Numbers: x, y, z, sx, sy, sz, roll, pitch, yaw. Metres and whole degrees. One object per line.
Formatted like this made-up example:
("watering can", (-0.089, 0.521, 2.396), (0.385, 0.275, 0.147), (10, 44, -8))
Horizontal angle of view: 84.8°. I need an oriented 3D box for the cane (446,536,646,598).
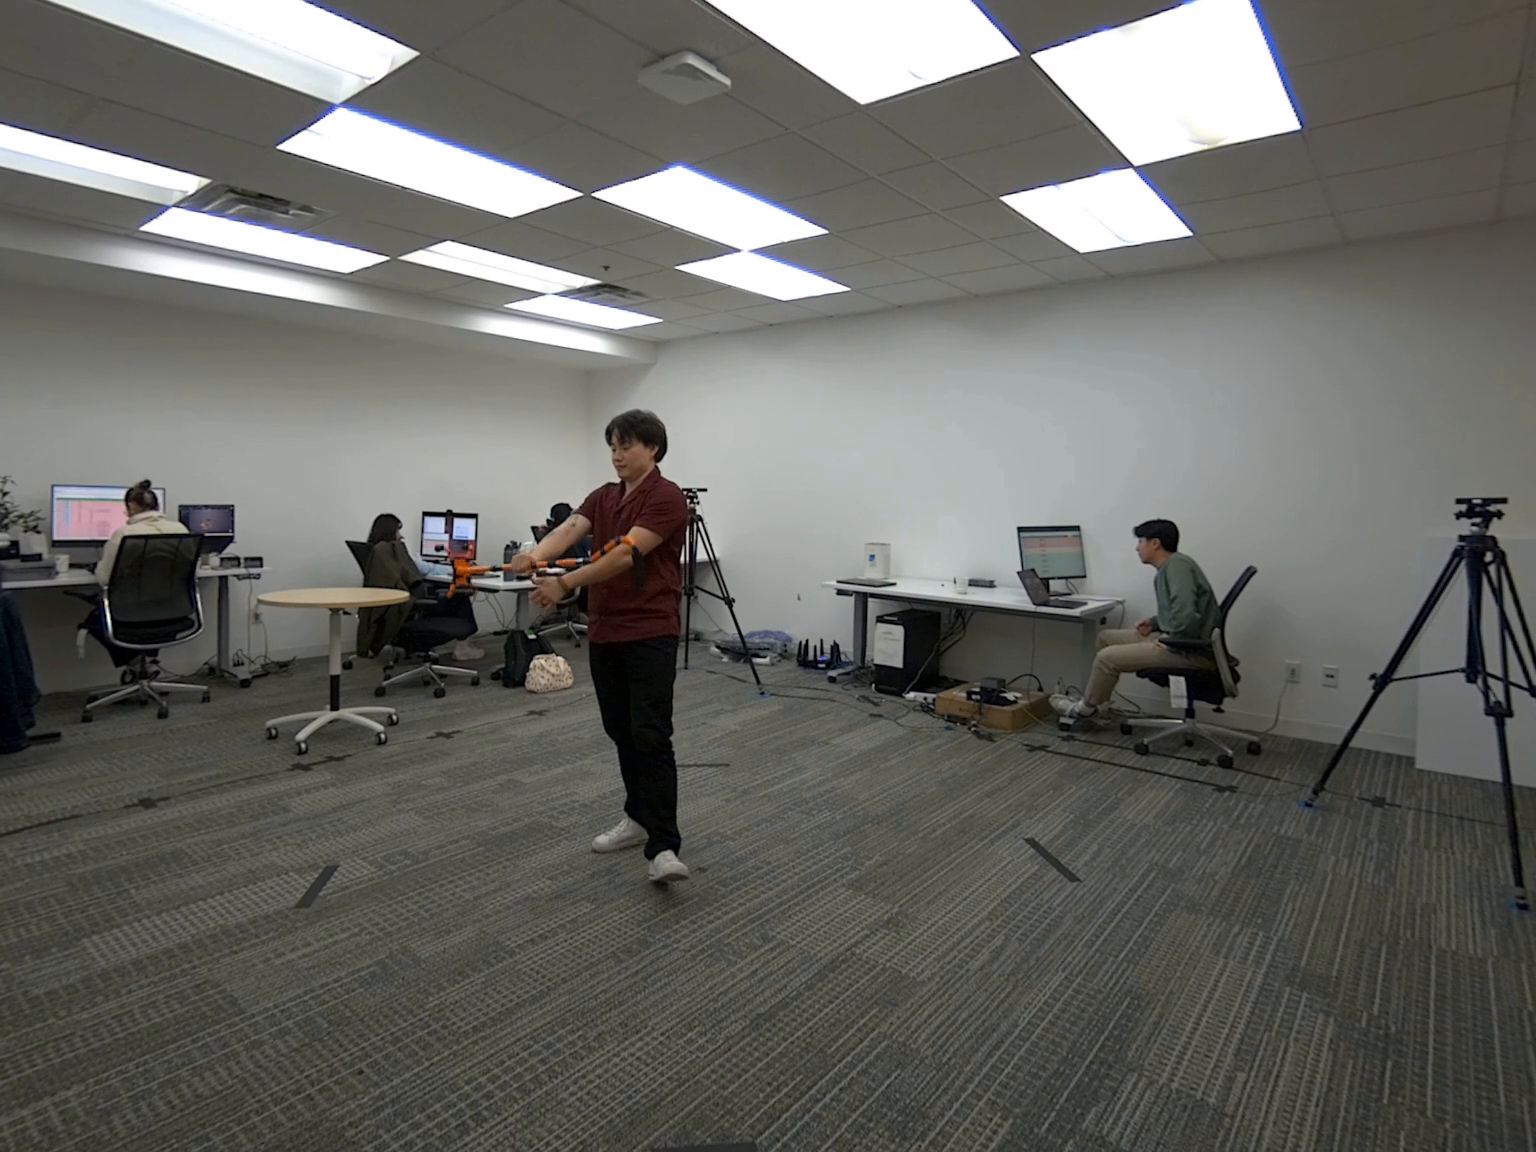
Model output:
("cane", (-0.792, -0.037, 2.893), (0.933, 0.206, 0.148), (-3, 4, 33))
